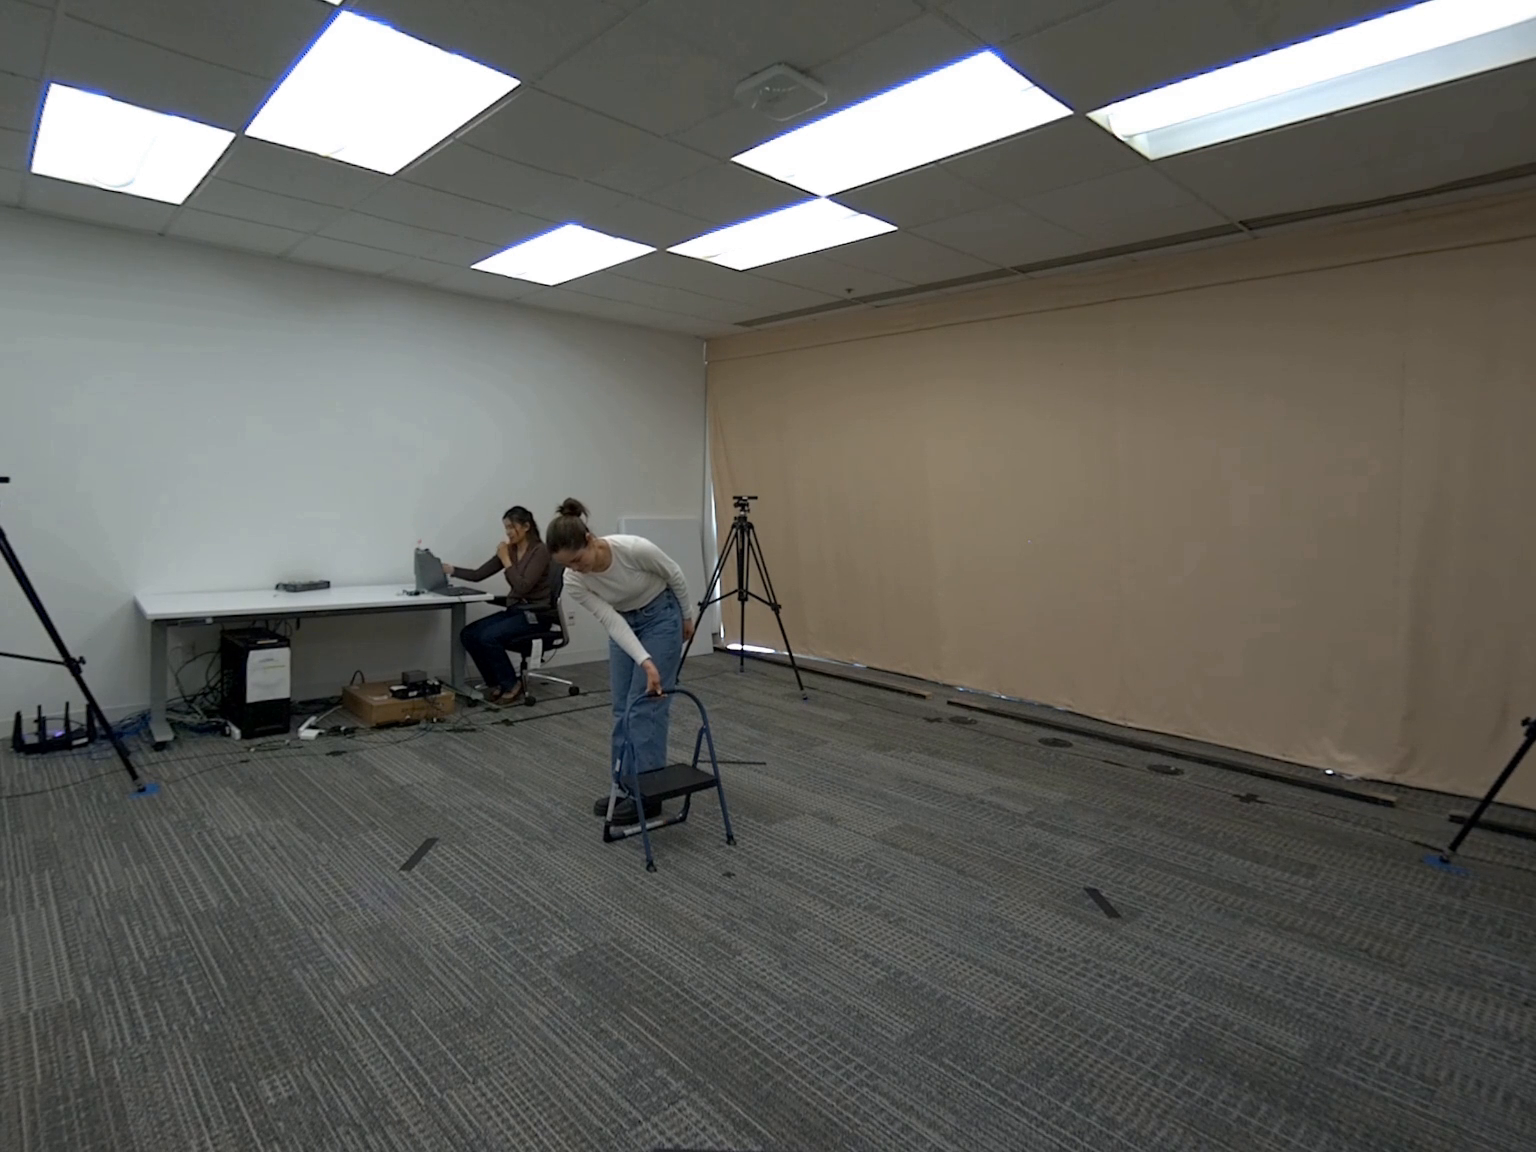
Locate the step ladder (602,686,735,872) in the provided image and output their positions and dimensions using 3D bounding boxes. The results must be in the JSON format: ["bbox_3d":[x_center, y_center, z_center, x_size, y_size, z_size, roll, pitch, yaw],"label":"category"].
[{"bbox_3d":[-0.396,0.772,3.364,0.421,0.604,0.358,-2,5,-43],"label":"step ladder"}]
